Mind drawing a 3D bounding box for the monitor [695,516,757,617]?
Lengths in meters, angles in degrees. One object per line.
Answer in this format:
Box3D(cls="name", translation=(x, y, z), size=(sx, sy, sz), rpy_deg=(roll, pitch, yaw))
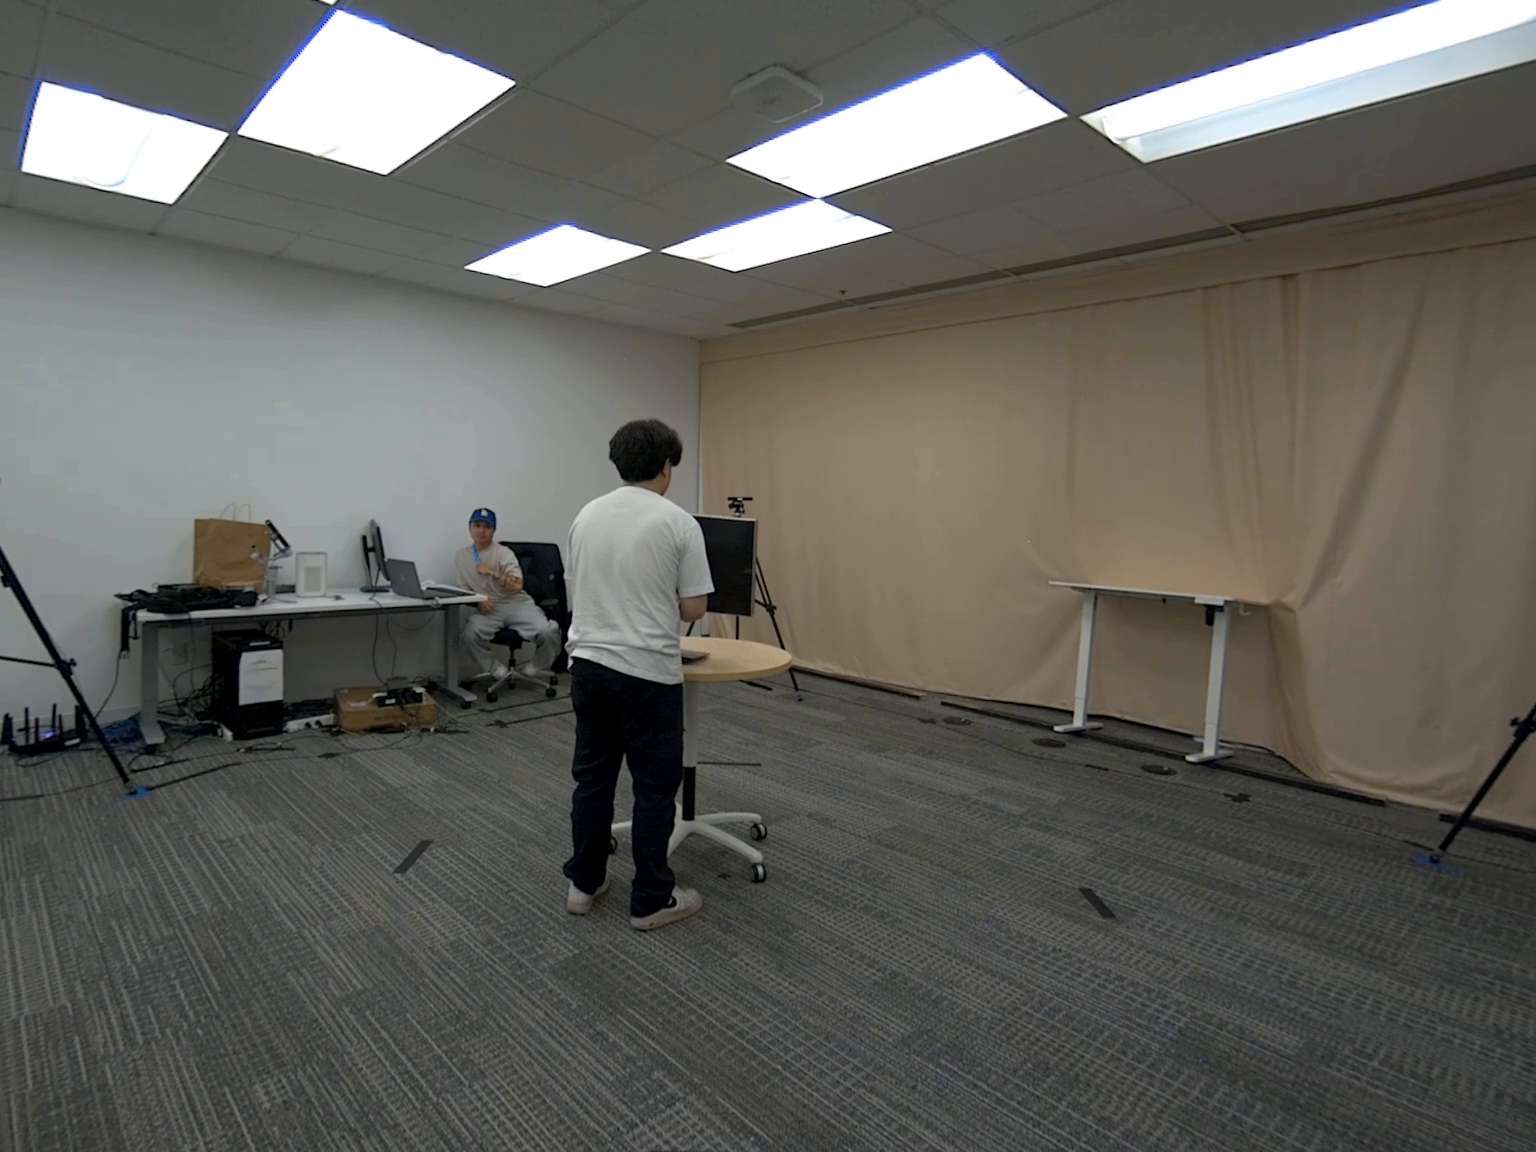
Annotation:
Box3D(cls="monitor", translation=(-0.349, 0.037, 3.103), size=(0.574, 0.552, 0.207), rpy_deg=(6, 6, 19))
